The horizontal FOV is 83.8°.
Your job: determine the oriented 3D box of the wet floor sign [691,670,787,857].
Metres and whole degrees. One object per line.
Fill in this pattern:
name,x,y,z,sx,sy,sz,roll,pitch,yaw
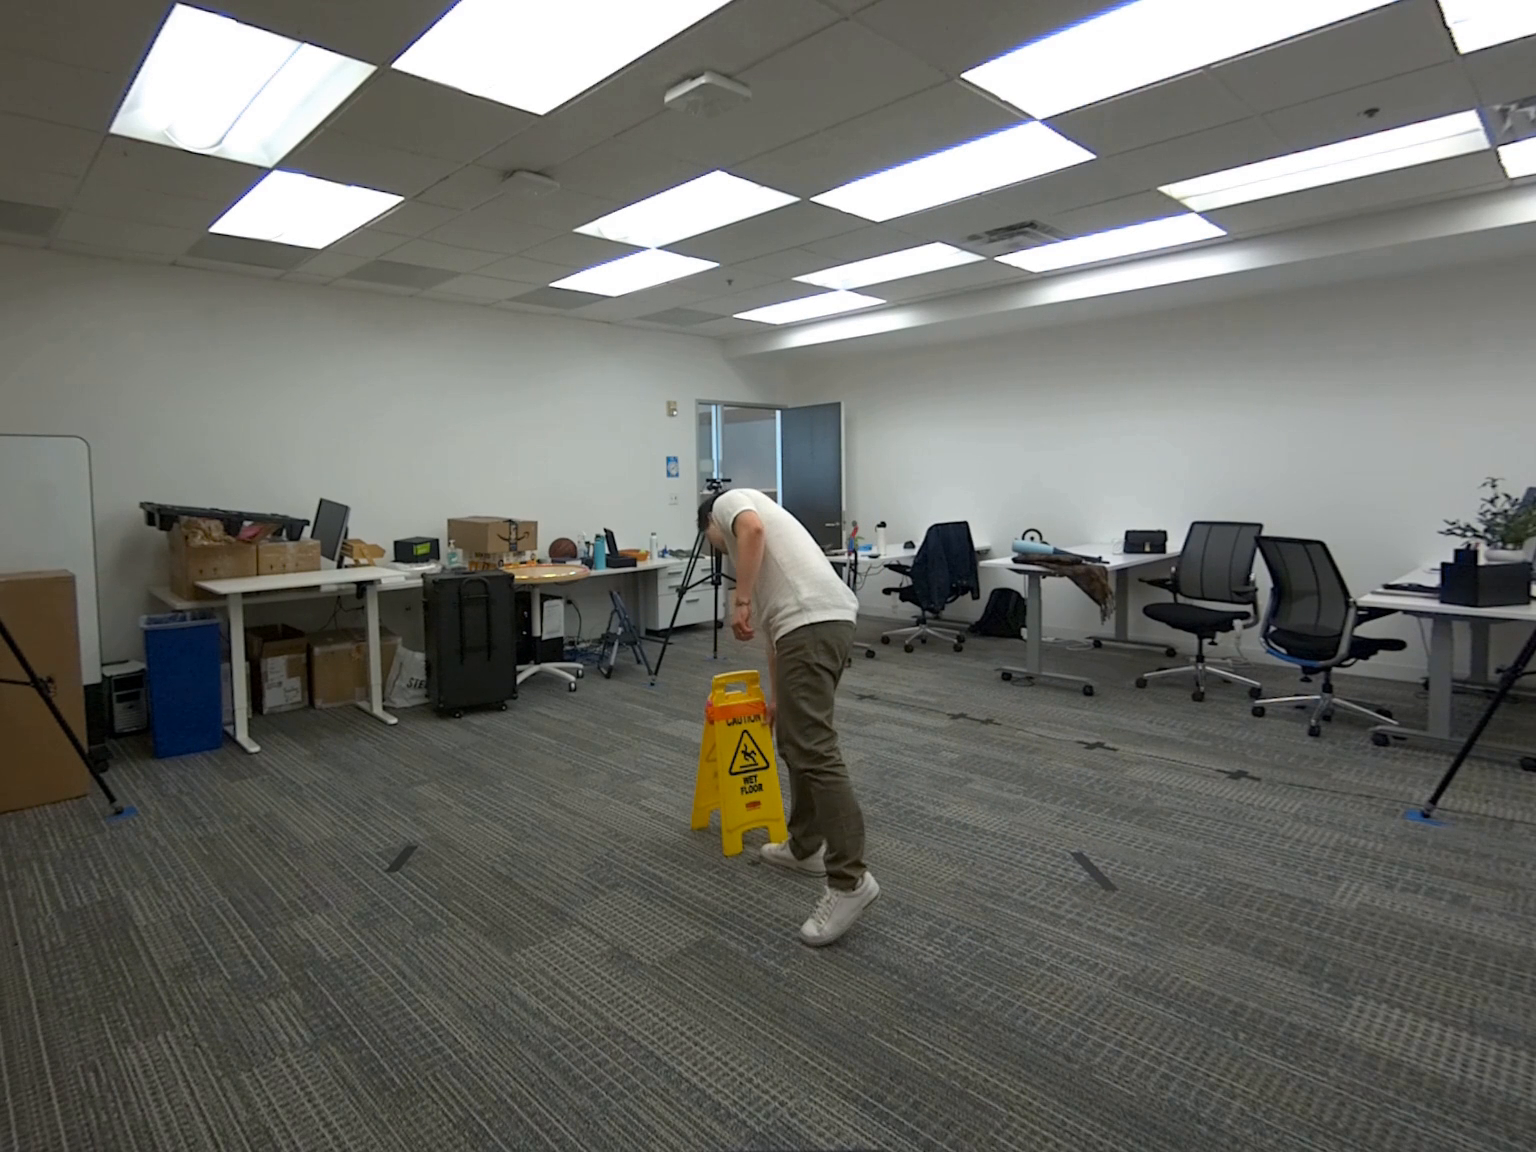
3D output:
wet floor sign,-0.119,0.694,3.333,0.276,0.643,0.298,-4,5,-30
